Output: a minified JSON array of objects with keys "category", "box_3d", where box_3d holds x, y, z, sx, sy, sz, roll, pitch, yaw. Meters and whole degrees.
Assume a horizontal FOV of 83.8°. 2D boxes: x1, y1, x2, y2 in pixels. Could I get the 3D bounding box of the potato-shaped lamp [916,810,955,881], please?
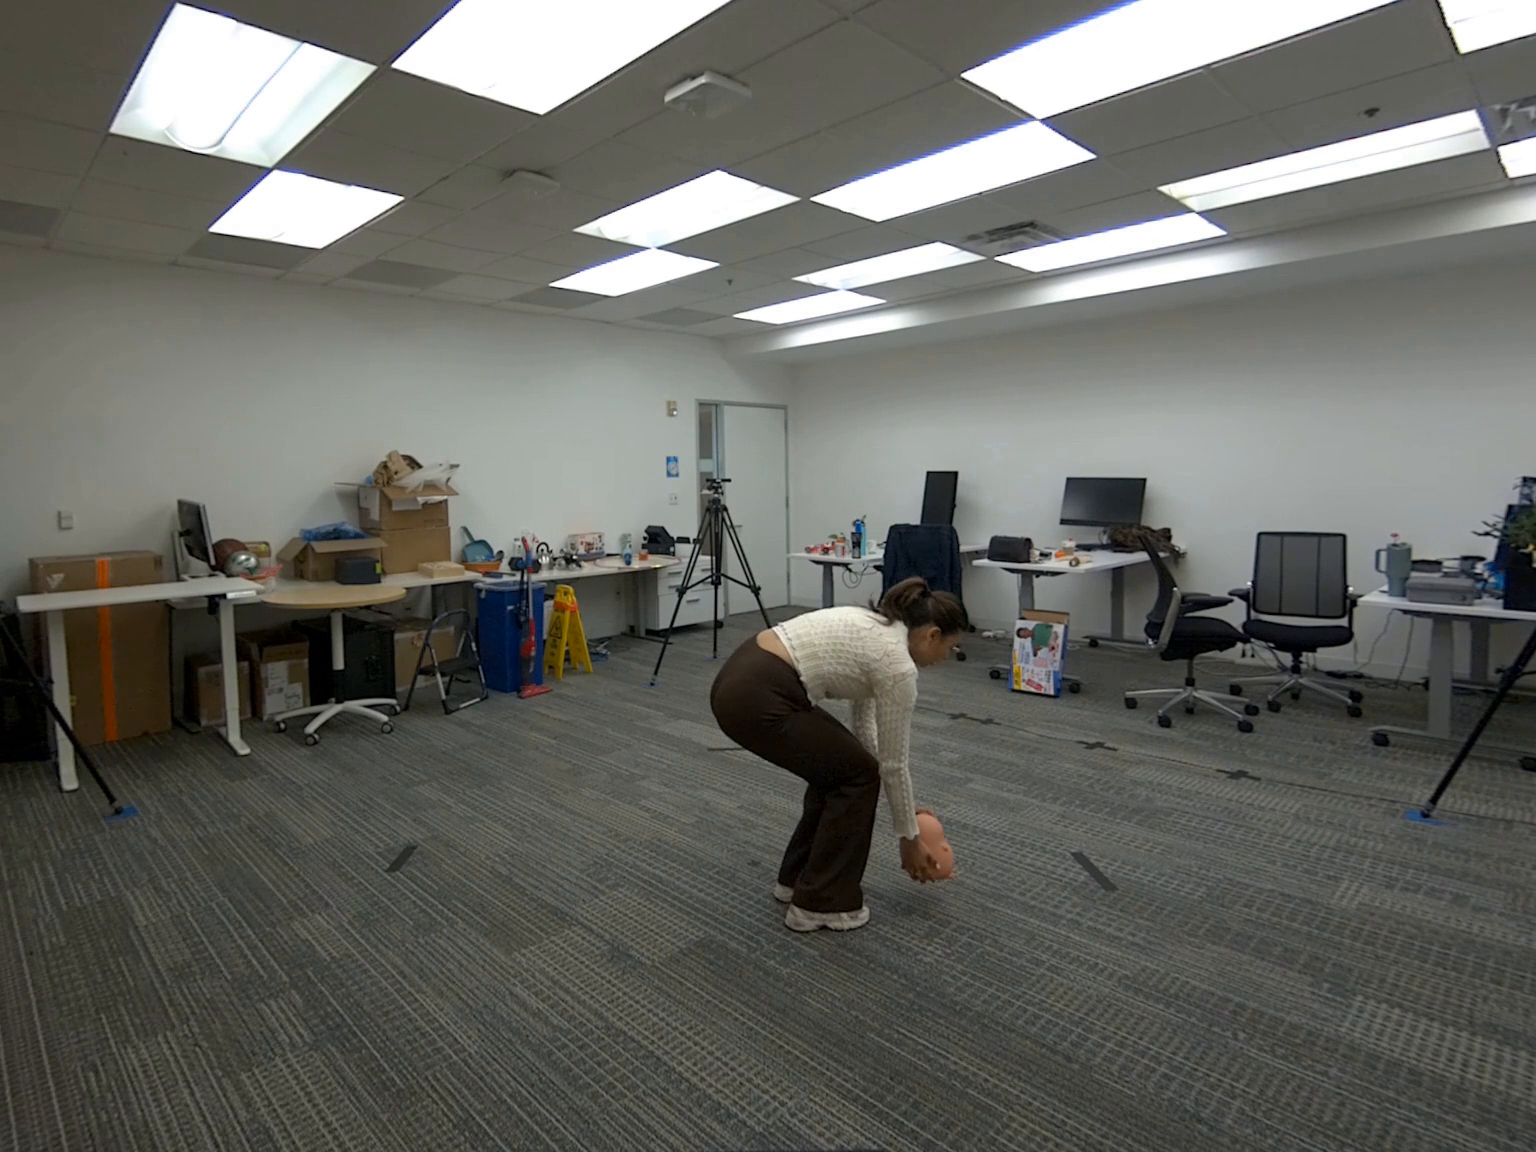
[{"category":"potato-shaped lamp","box_3d":[0.516,0.865,2.801,0.172,0.198,0.164,-2,2,5]}]
